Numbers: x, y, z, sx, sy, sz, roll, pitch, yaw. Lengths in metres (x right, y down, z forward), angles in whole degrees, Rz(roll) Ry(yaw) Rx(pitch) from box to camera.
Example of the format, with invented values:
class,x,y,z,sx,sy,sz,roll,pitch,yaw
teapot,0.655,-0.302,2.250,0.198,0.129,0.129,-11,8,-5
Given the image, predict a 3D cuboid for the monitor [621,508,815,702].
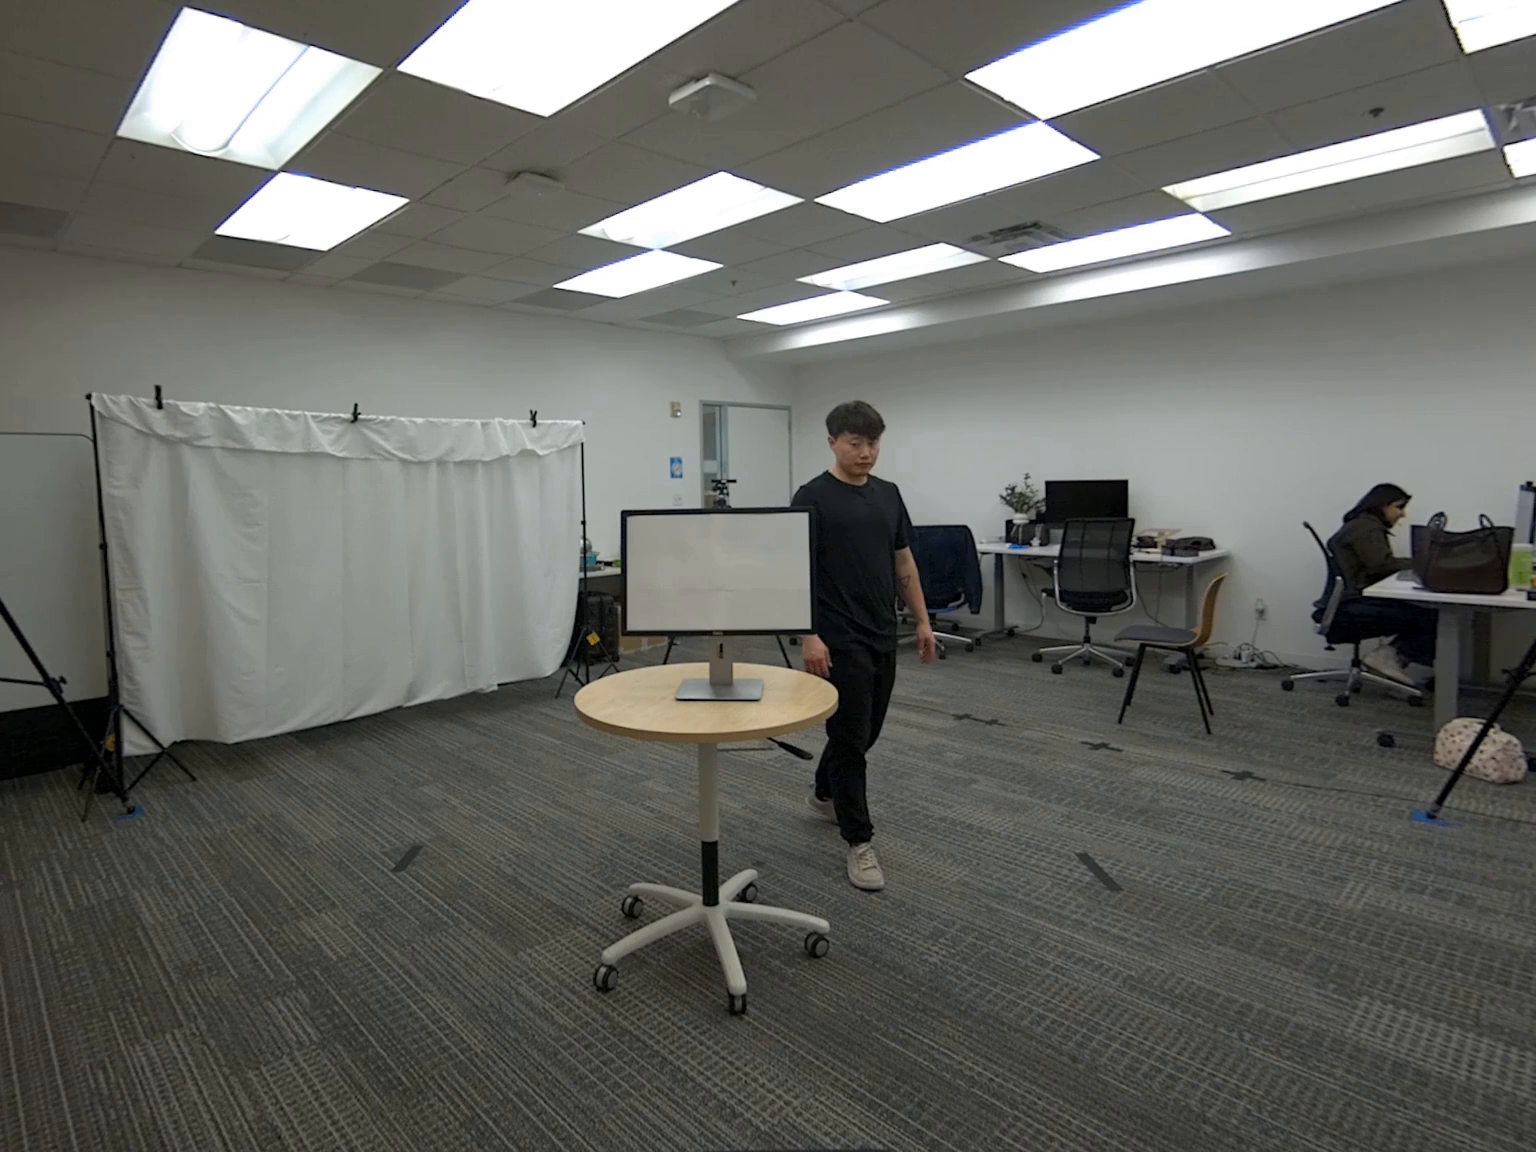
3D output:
class,x,y,z,sx,sy,sz,roll,pitch,yaw
monitor,-0.142,0.077,2.491,0.540,0.520,0.188,-1,5,1
